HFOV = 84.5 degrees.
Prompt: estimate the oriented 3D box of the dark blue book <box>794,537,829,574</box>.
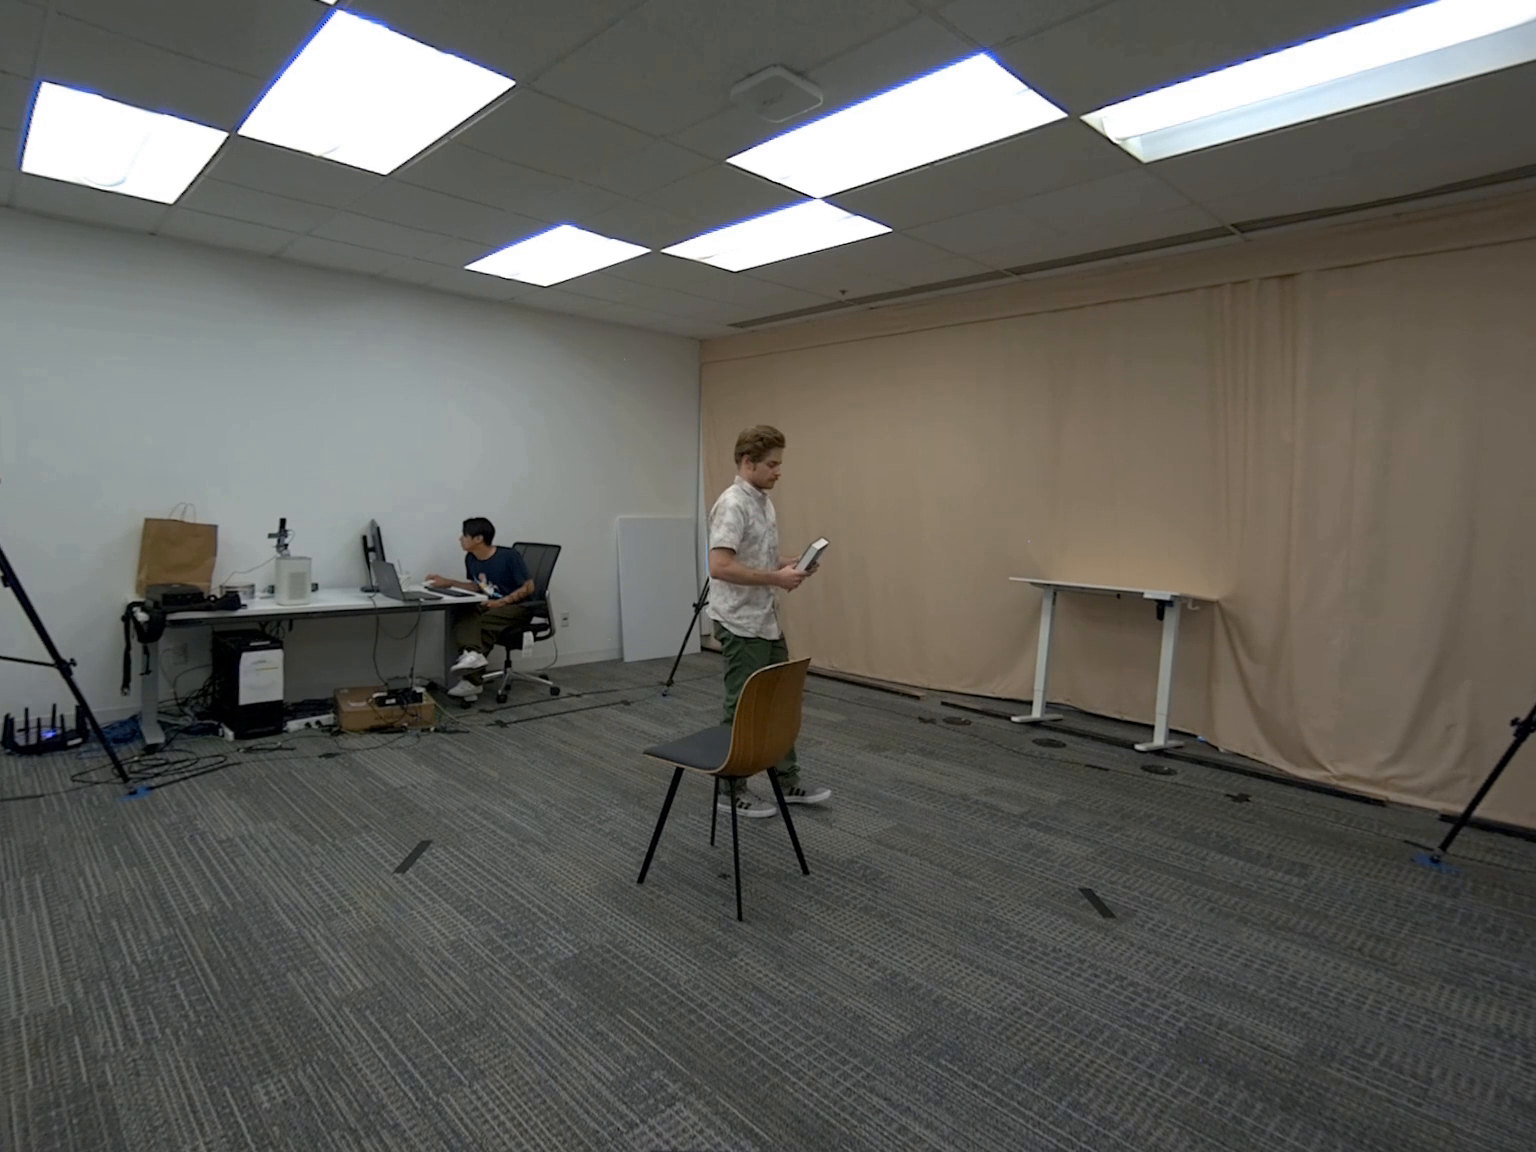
[{"bbox_3d":[0.153,-0.051,3.625,0.046,0.244,0.162,38,21,9],"label":"dark blue book"}]
